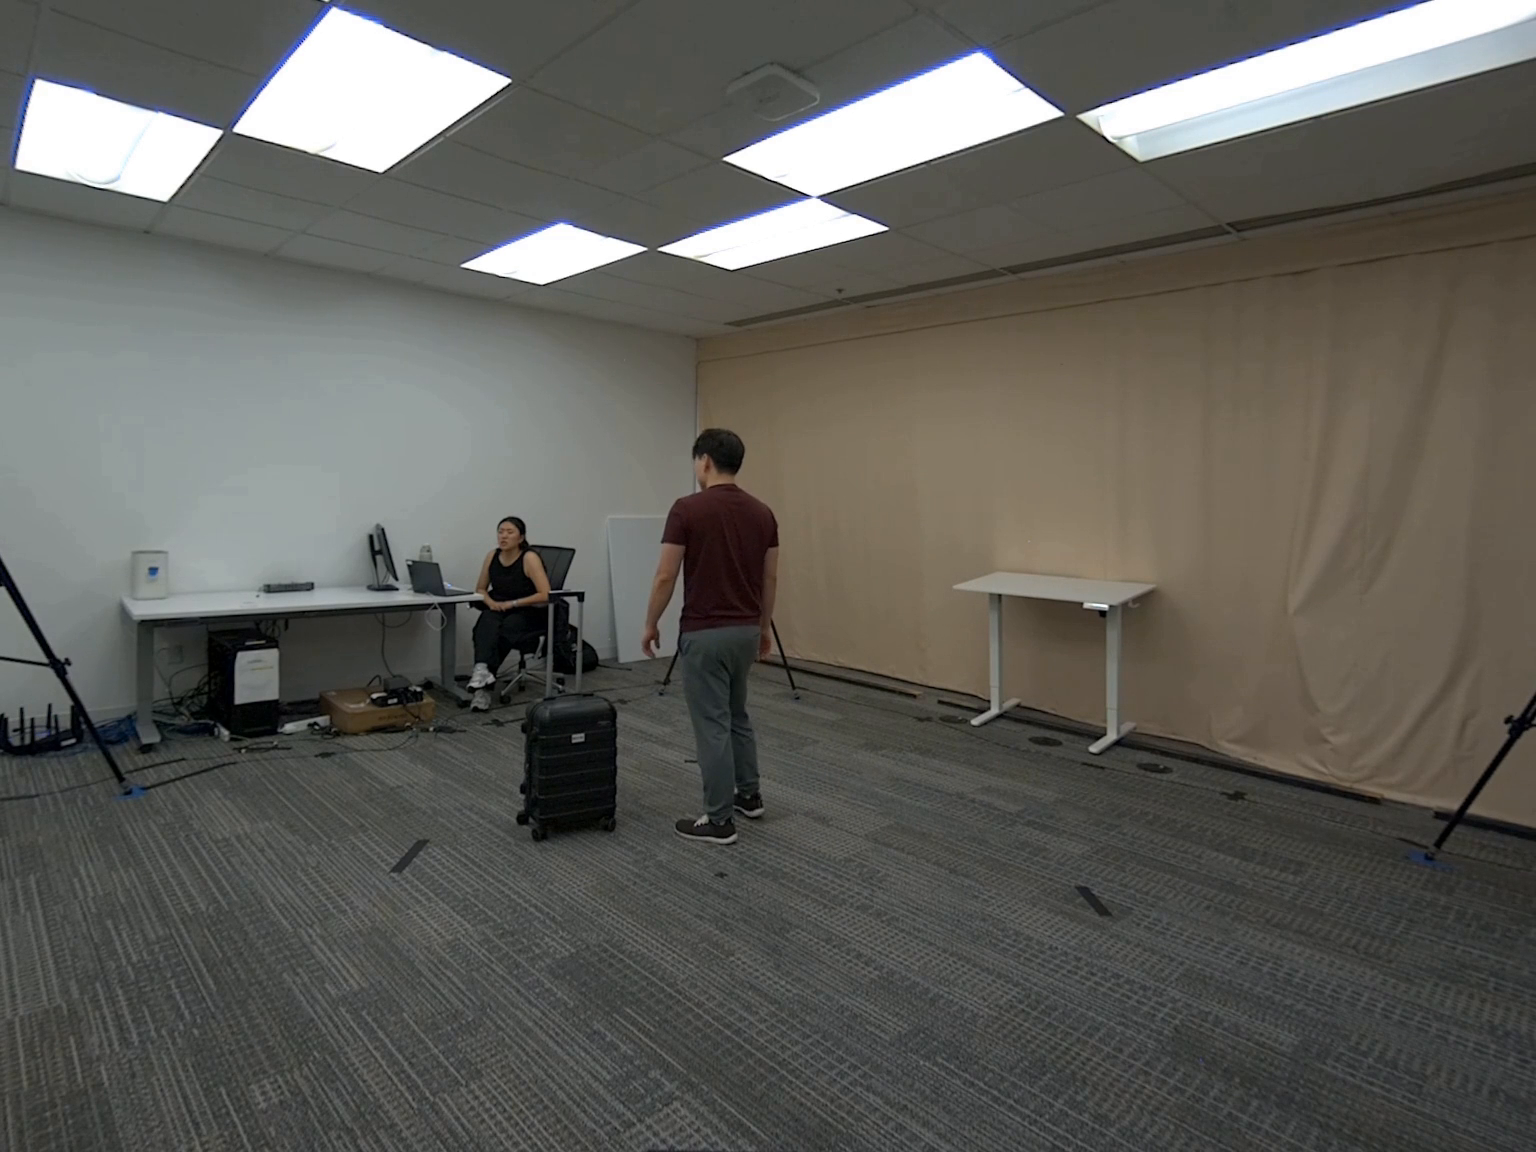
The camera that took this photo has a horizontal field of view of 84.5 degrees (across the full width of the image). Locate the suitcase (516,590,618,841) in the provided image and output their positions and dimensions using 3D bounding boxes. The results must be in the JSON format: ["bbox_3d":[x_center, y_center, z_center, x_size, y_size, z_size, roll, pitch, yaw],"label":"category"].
[{"bbox_3d":[-0.830,0.579,3.501,0.376,0.975,0.263,0,5,-30],"label":"suitcase"}]
